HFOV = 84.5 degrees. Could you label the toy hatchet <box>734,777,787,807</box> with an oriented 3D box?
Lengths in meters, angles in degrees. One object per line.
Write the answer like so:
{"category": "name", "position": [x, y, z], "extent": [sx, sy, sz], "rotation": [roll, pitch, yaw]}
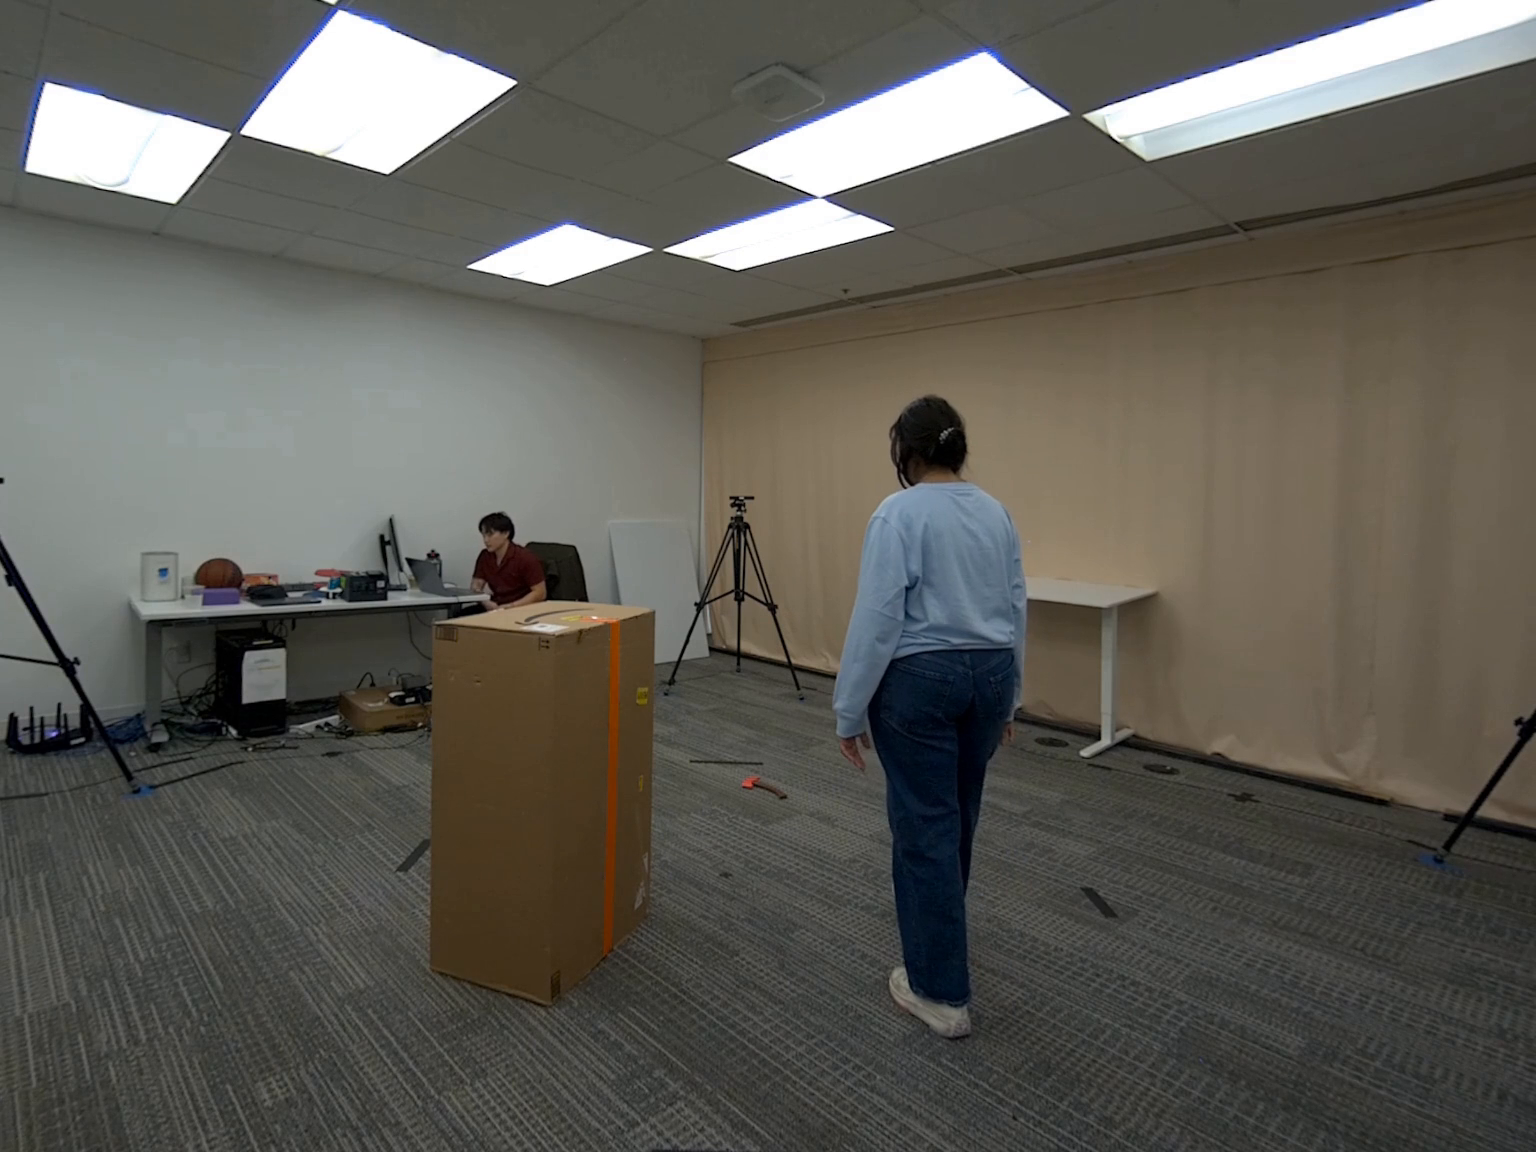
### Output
{"category": "toy hatchet", "position": [-0.041, 1.023, 4.025], "extent": [0.128, 0.029, 0.276], "rotation": [1, 6, -29]}
